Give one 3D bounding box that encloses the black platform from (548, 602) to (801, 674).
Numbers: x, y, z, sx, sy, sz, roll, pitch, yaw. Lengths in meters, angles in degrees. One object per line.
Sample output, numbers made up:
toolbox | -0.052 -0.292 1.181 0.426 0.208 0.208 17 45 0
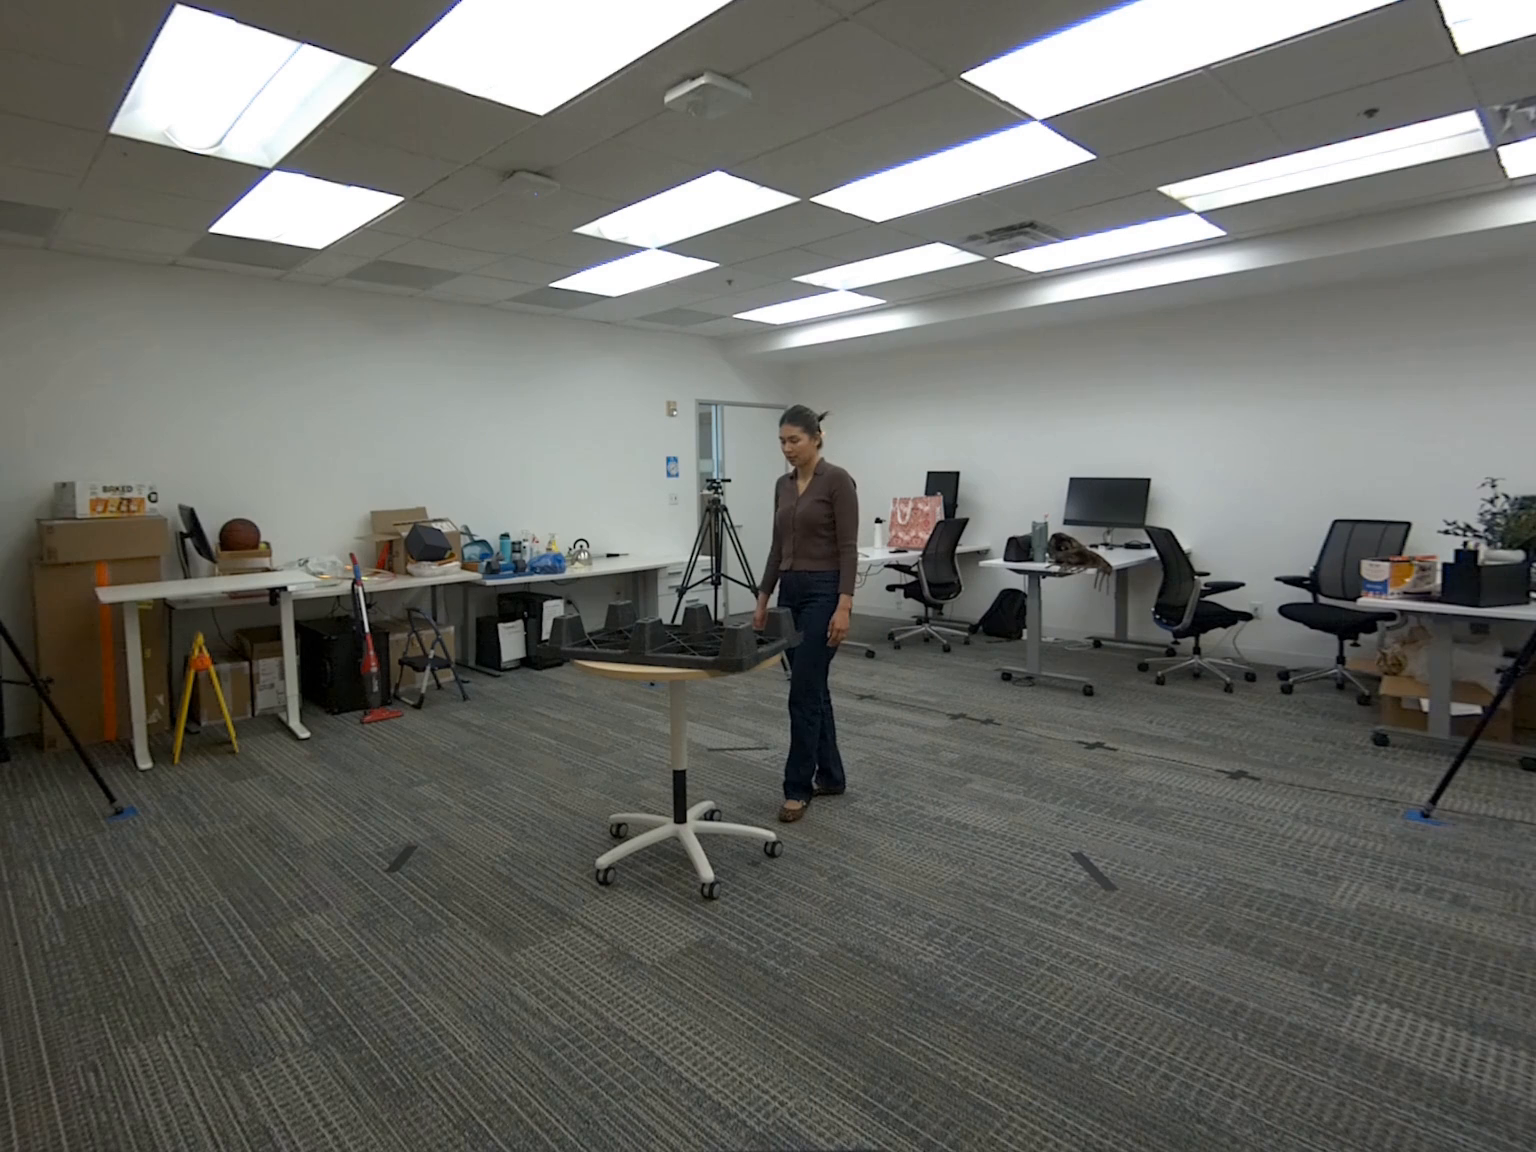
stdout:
black platform | -0.336 0.200 3.120 0.823 0.143 0.595 2 6 23
